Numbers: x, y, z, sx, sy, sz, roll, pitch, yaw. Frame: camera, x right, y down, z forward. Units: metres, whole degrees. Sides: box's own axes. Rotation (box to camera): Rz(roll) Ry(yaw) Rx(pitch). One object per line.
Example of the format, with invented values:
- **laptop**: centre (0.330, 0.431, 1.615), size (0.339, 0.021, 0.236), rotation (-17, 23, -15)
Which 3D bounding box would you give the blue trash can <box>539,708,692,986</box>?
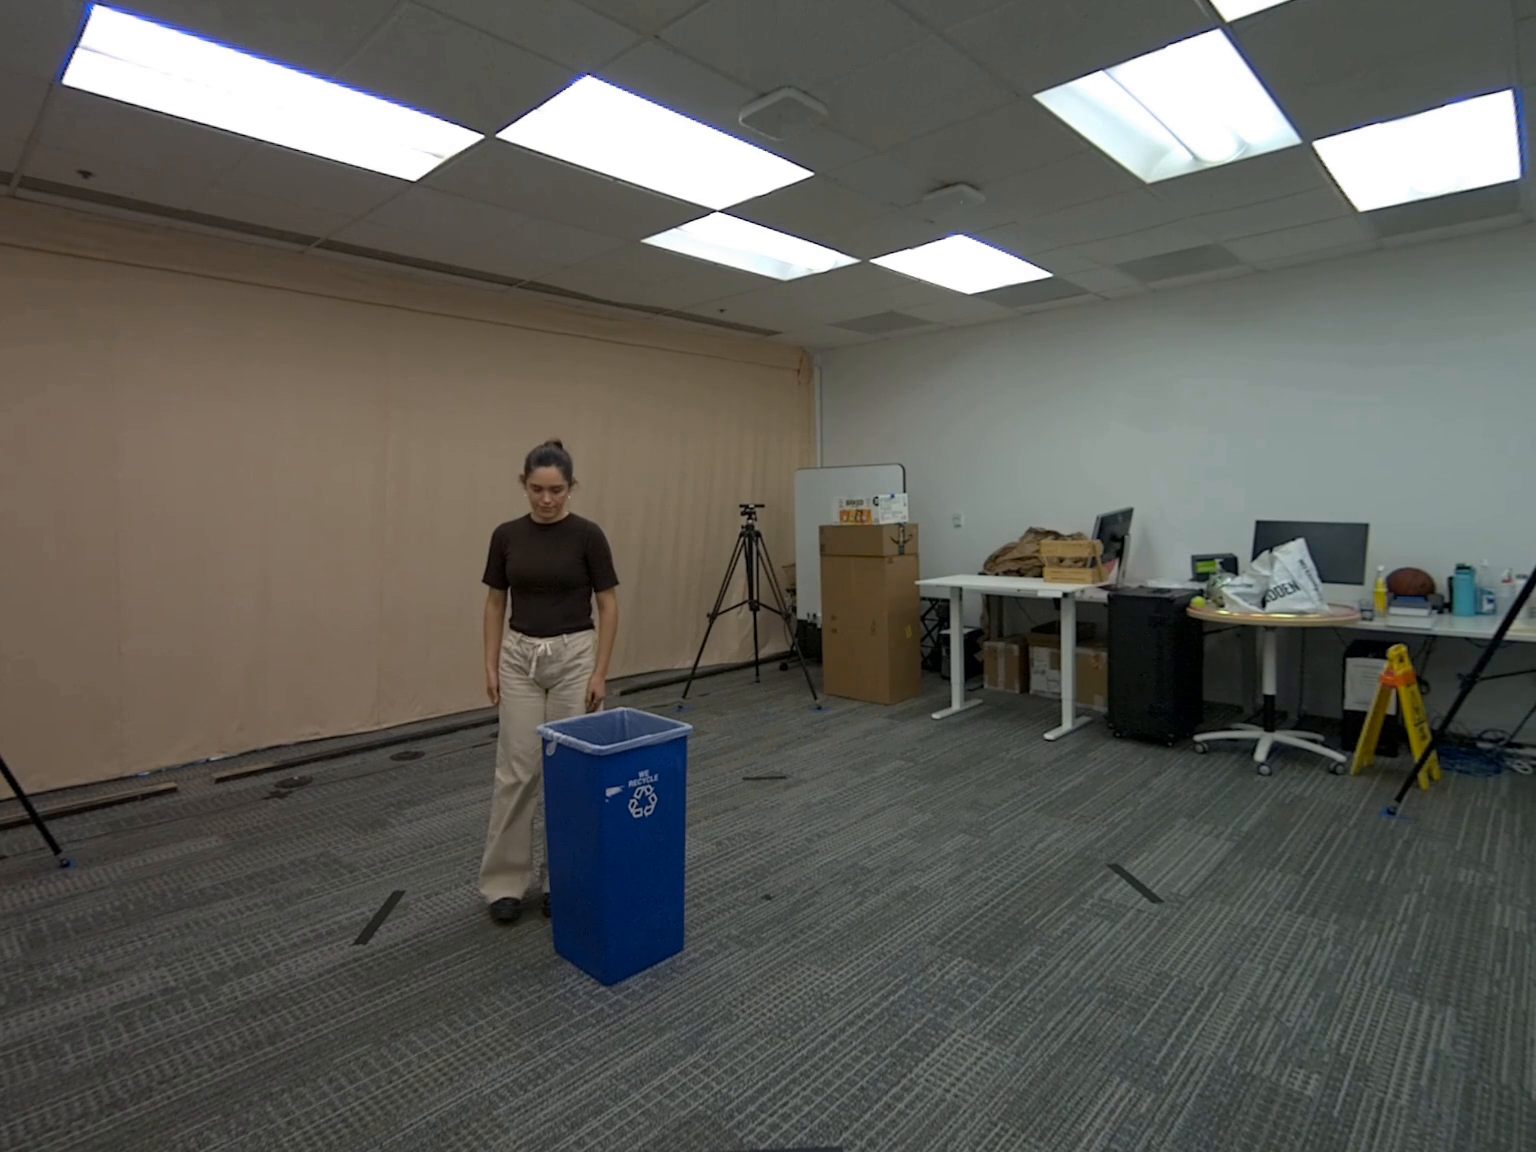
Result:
- **blue trash can**: centre (-0.465, 0.824, 2.628), size (0.366, 0.712, 0.386), rotation (-3, 3, -45)
